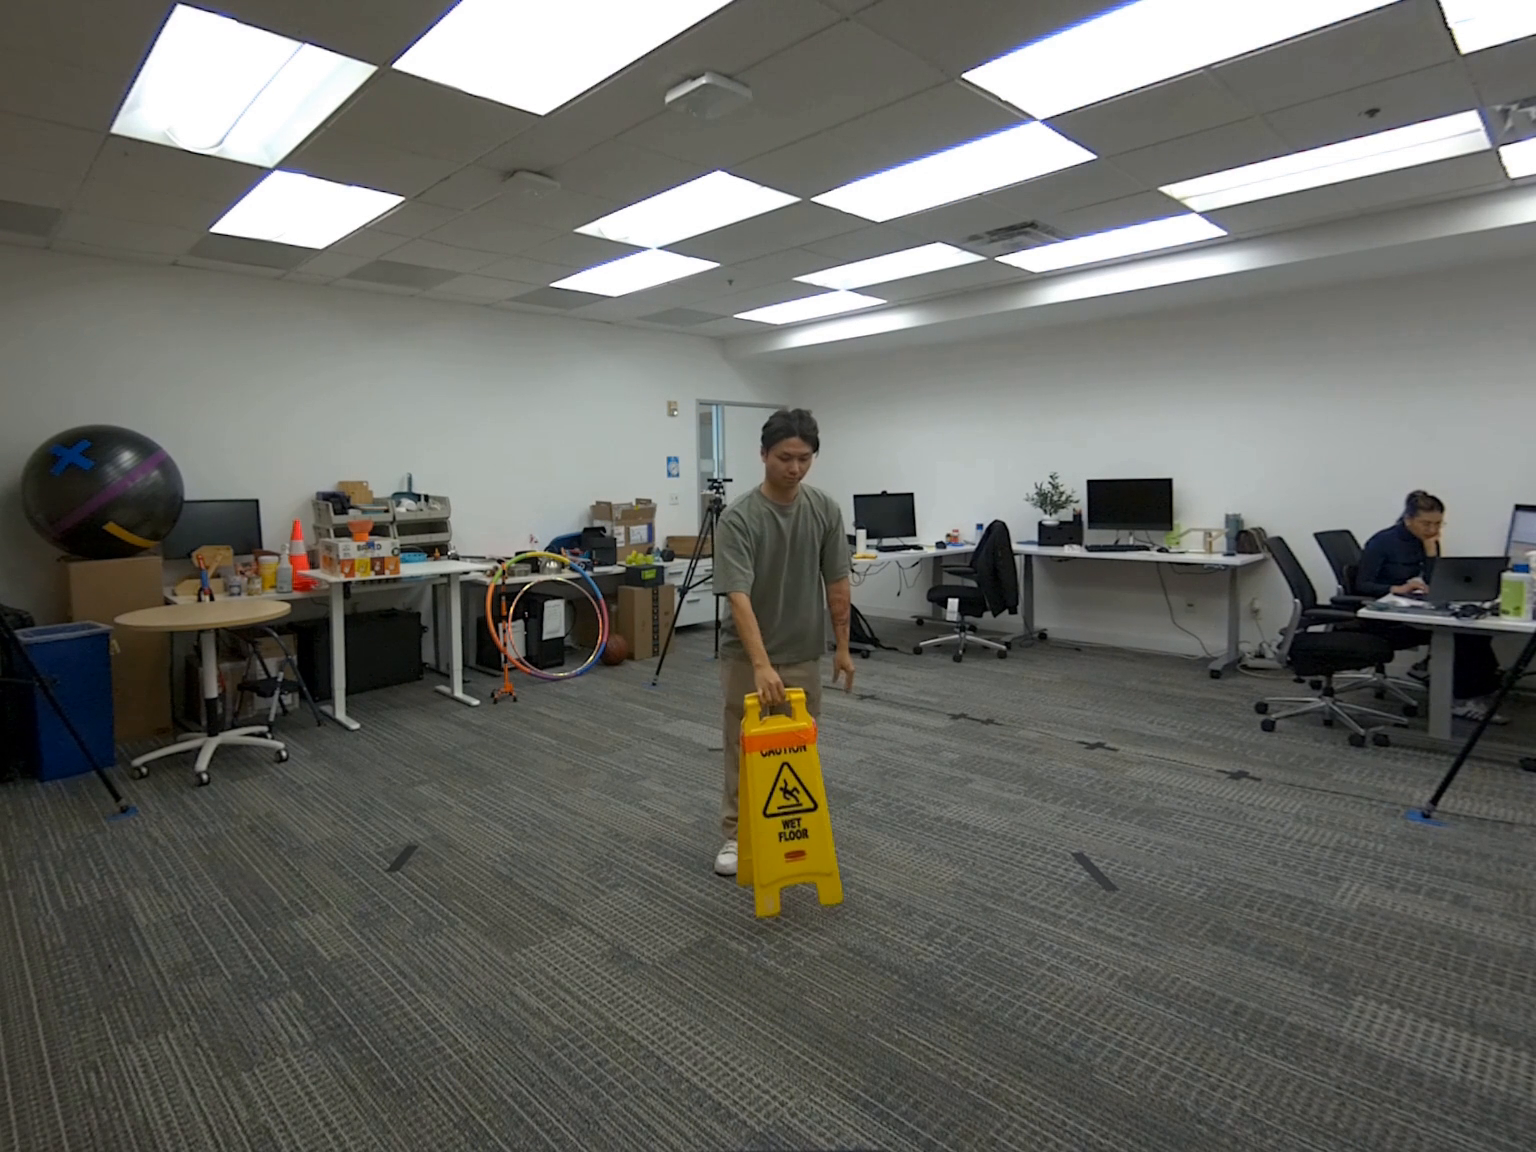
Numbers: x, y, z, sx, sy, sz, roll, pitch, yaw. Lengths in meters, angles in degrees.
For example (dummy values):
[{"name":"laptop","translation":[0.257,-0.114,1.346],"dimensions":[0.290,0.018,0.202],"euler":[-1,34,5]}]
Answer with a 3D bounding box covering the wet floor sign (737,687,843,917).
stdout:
[{"name":"wet floor sign","translation":[0.044,0.686,2.727],"dimensions":[0.279,0.645,0.294],"euler":[-3,2,-14]}]
